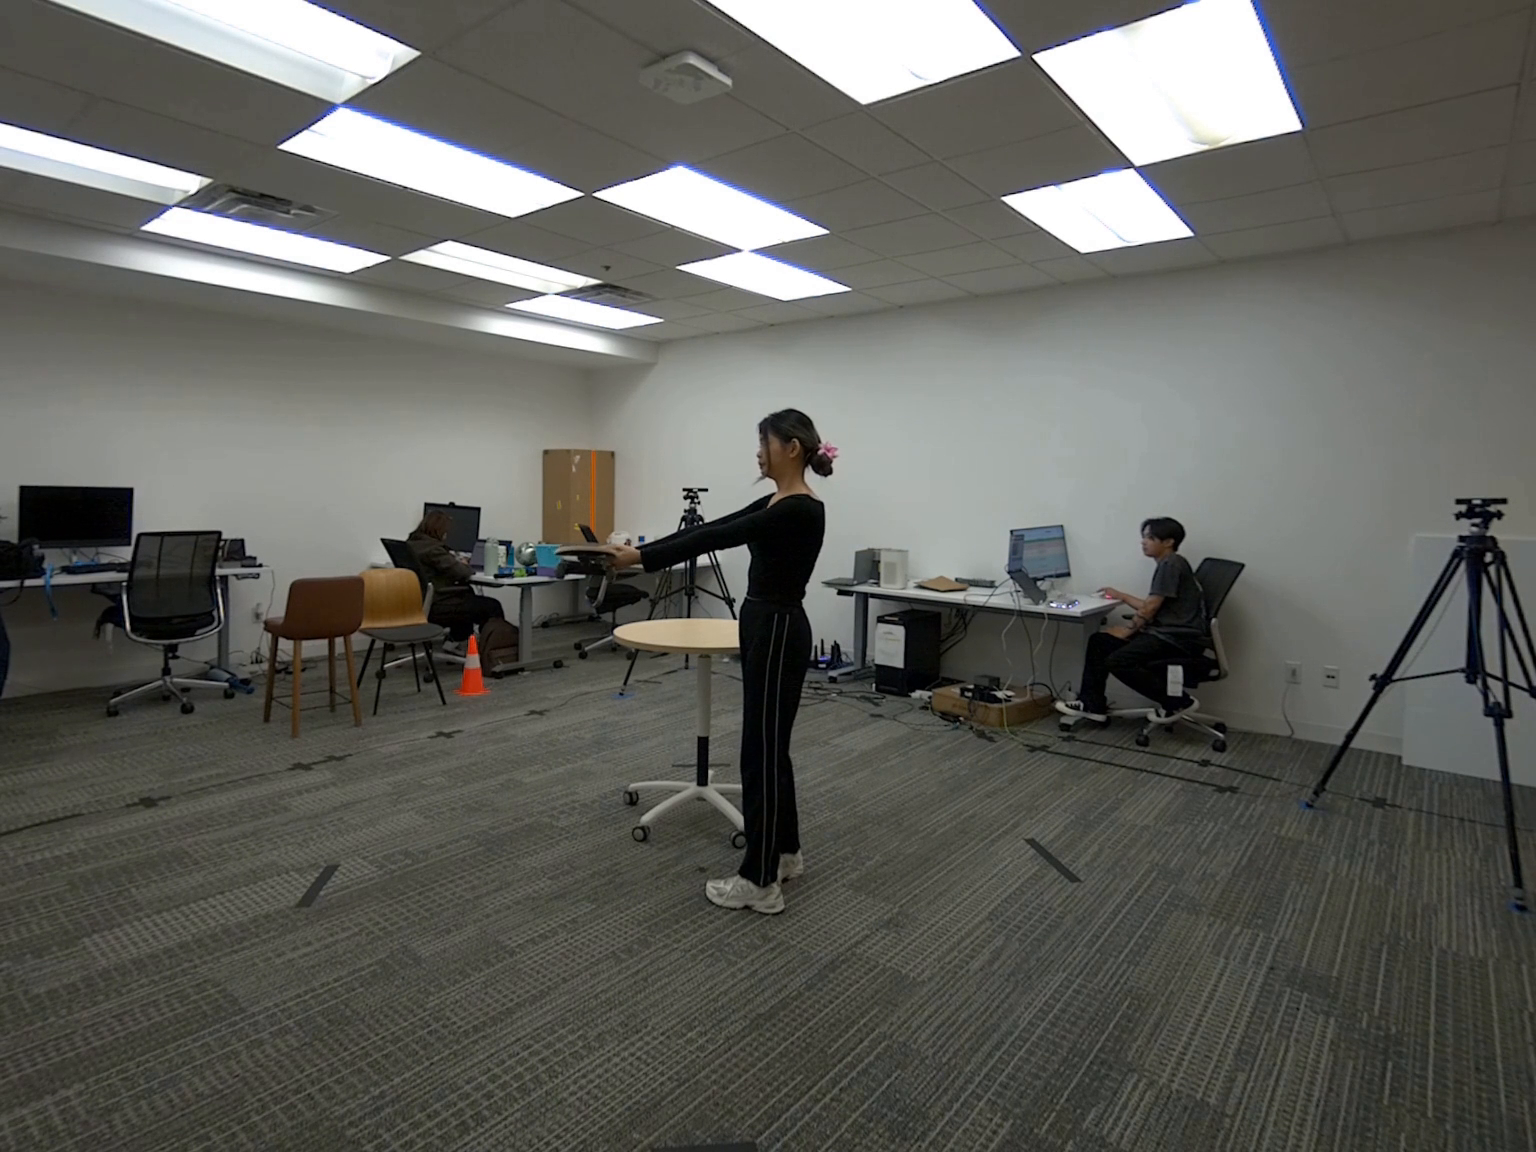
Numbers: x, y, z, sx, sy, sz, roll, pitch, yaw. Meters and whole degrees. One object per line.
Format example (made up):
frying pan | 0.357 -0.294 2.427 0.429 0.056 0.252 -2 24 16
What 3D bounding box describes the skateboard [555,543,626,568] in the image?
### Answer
skateboard | -0.614 -0.050 2.839 0.192 0.110 0.793 1 2 -9
